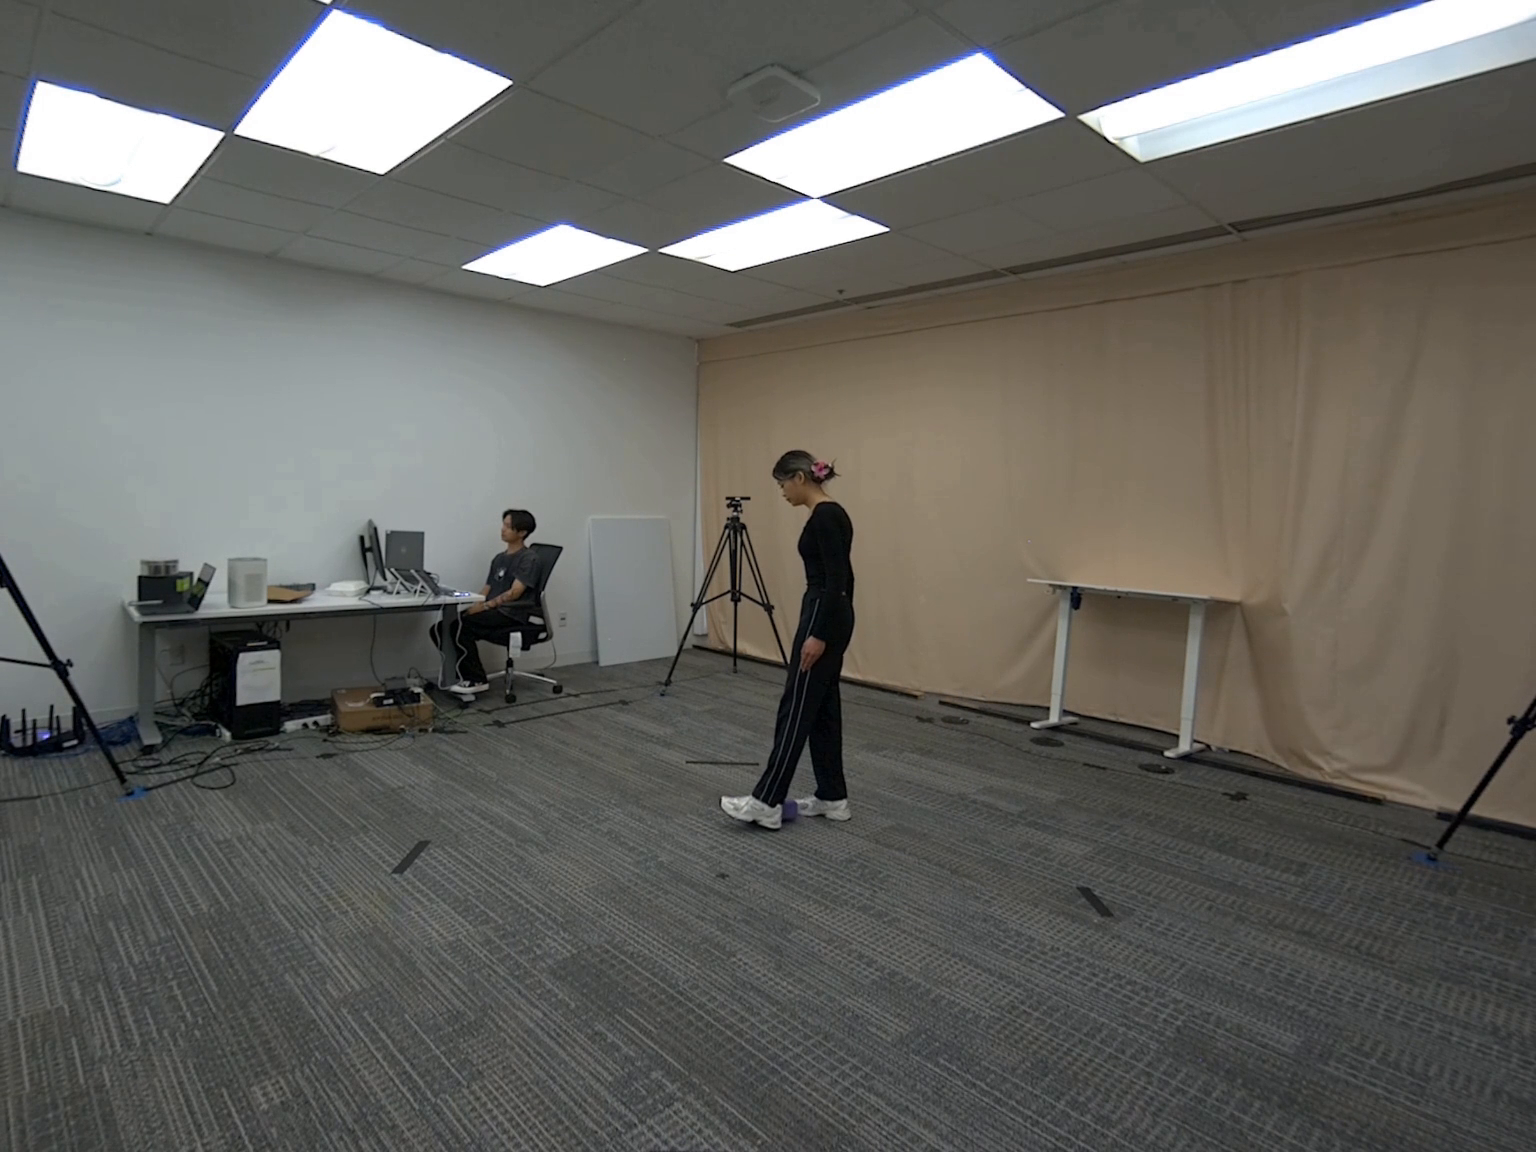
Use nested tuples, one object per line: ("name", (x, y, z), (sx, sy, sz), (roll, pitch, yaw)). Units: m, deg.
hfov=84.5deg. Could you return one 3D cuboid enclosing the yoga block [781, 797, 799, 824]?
("yoga block", (0.000, 1.017, 3.675), (0.228, 0.077, 0.149), (0, -4, -9))
